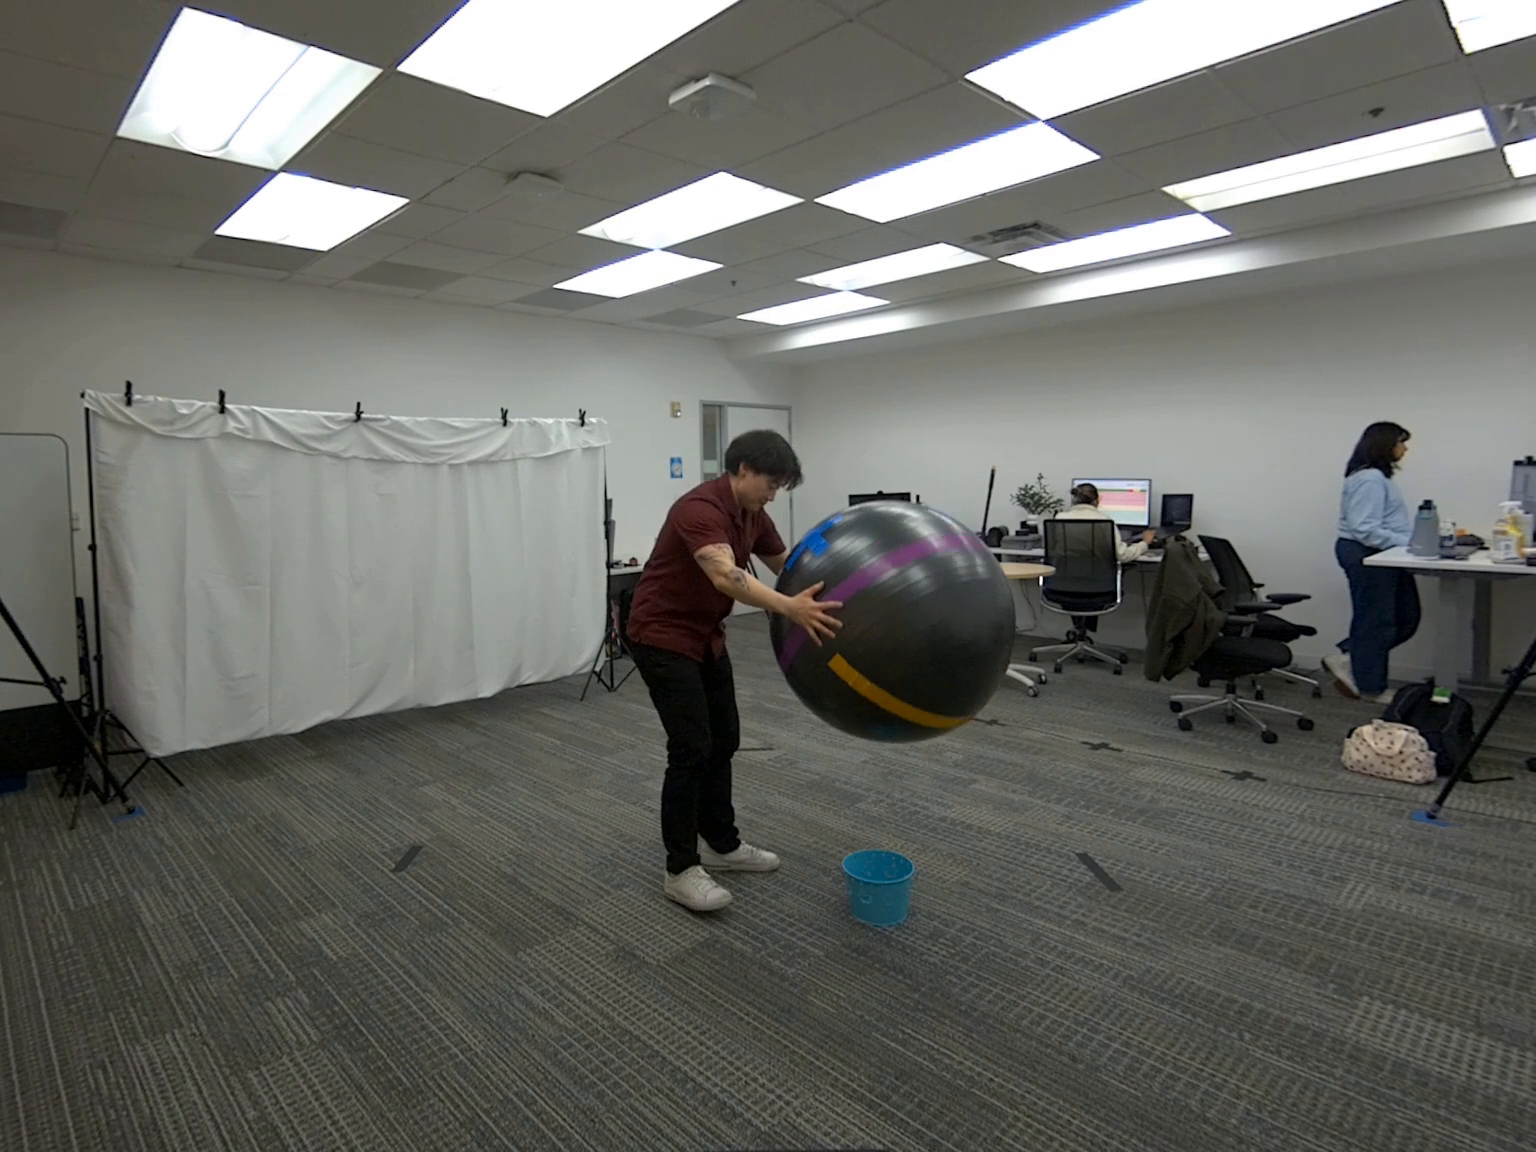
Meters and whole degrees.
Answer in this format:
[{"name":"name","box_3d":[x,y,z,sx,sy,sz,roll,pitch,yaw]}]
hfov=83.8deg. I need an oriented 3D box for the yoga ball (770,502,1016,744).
[{"name":"yoga ball","box_3d":[0.386,0.143,2.703,0.757,0.755,0.762,-1,5,-2]}]
